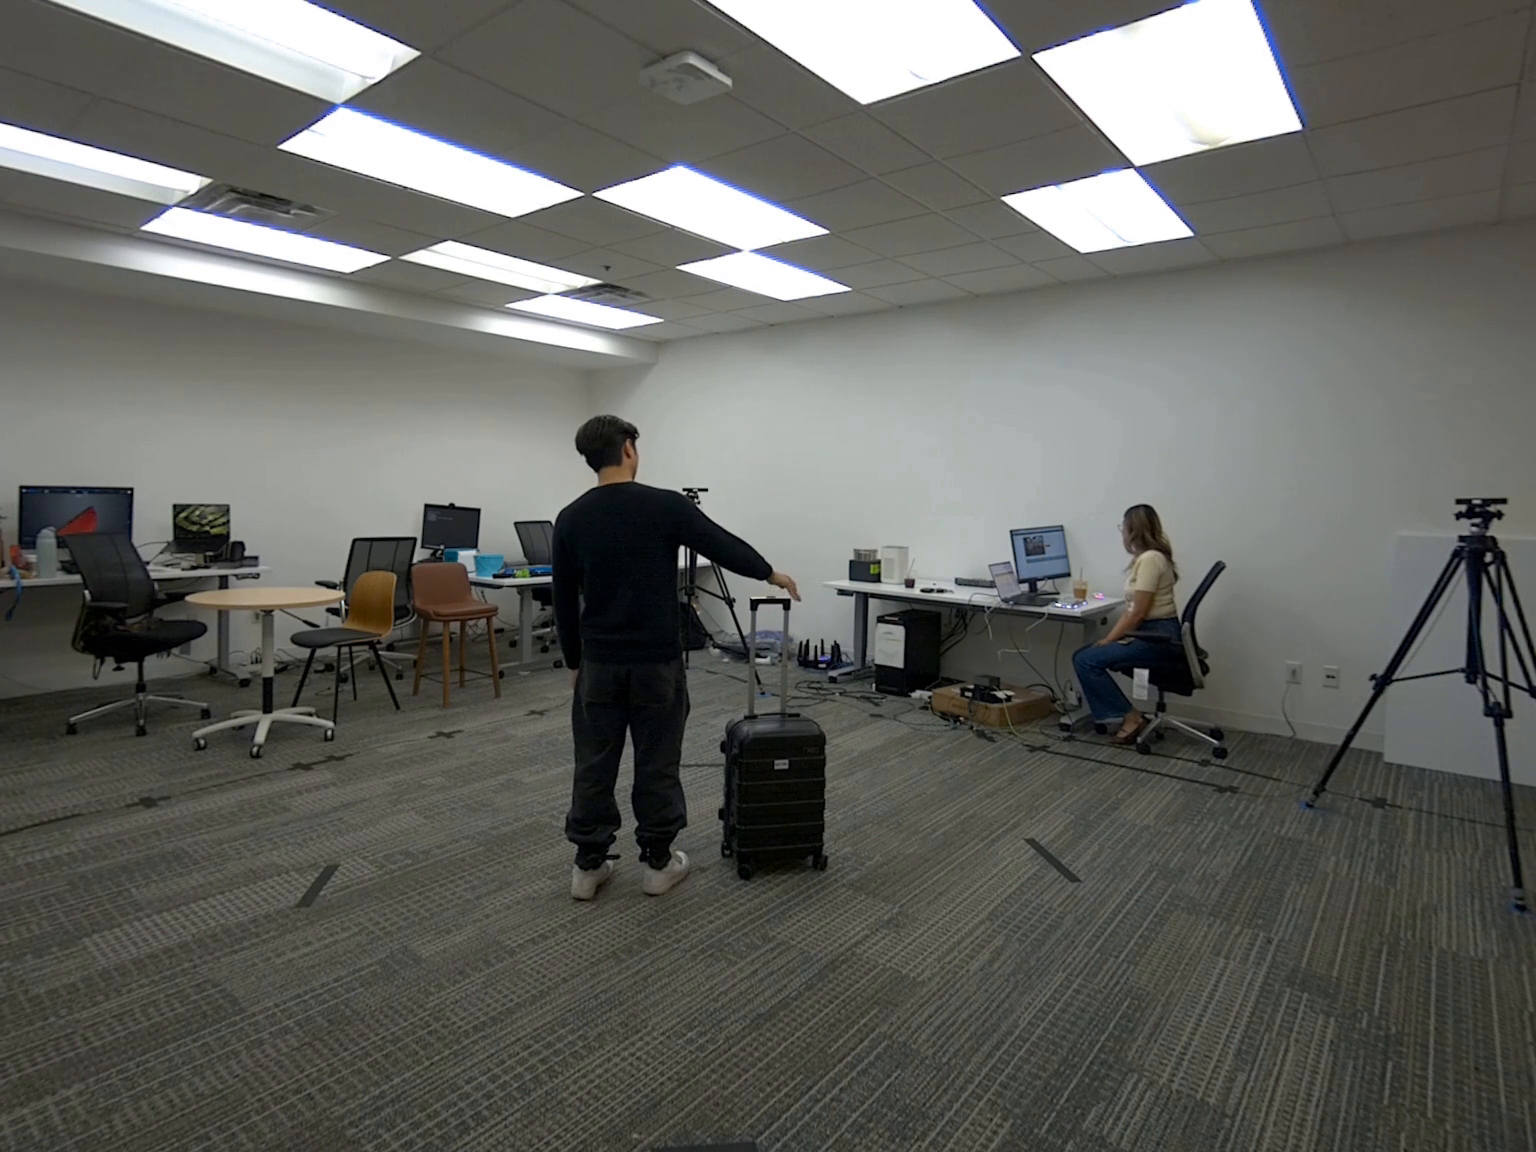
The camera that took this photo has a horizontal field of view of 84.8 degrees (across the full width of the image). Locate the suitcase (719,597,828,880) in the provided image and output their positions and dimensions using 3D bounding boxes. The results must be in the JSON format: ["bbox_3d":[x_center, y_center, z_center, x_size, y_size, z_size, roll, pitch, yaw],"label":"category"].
[{"bbox_3d":[0.020,0.590,3.160,0.379,0.974,0.262,0,5,-13],"label":"suitcase"}]
